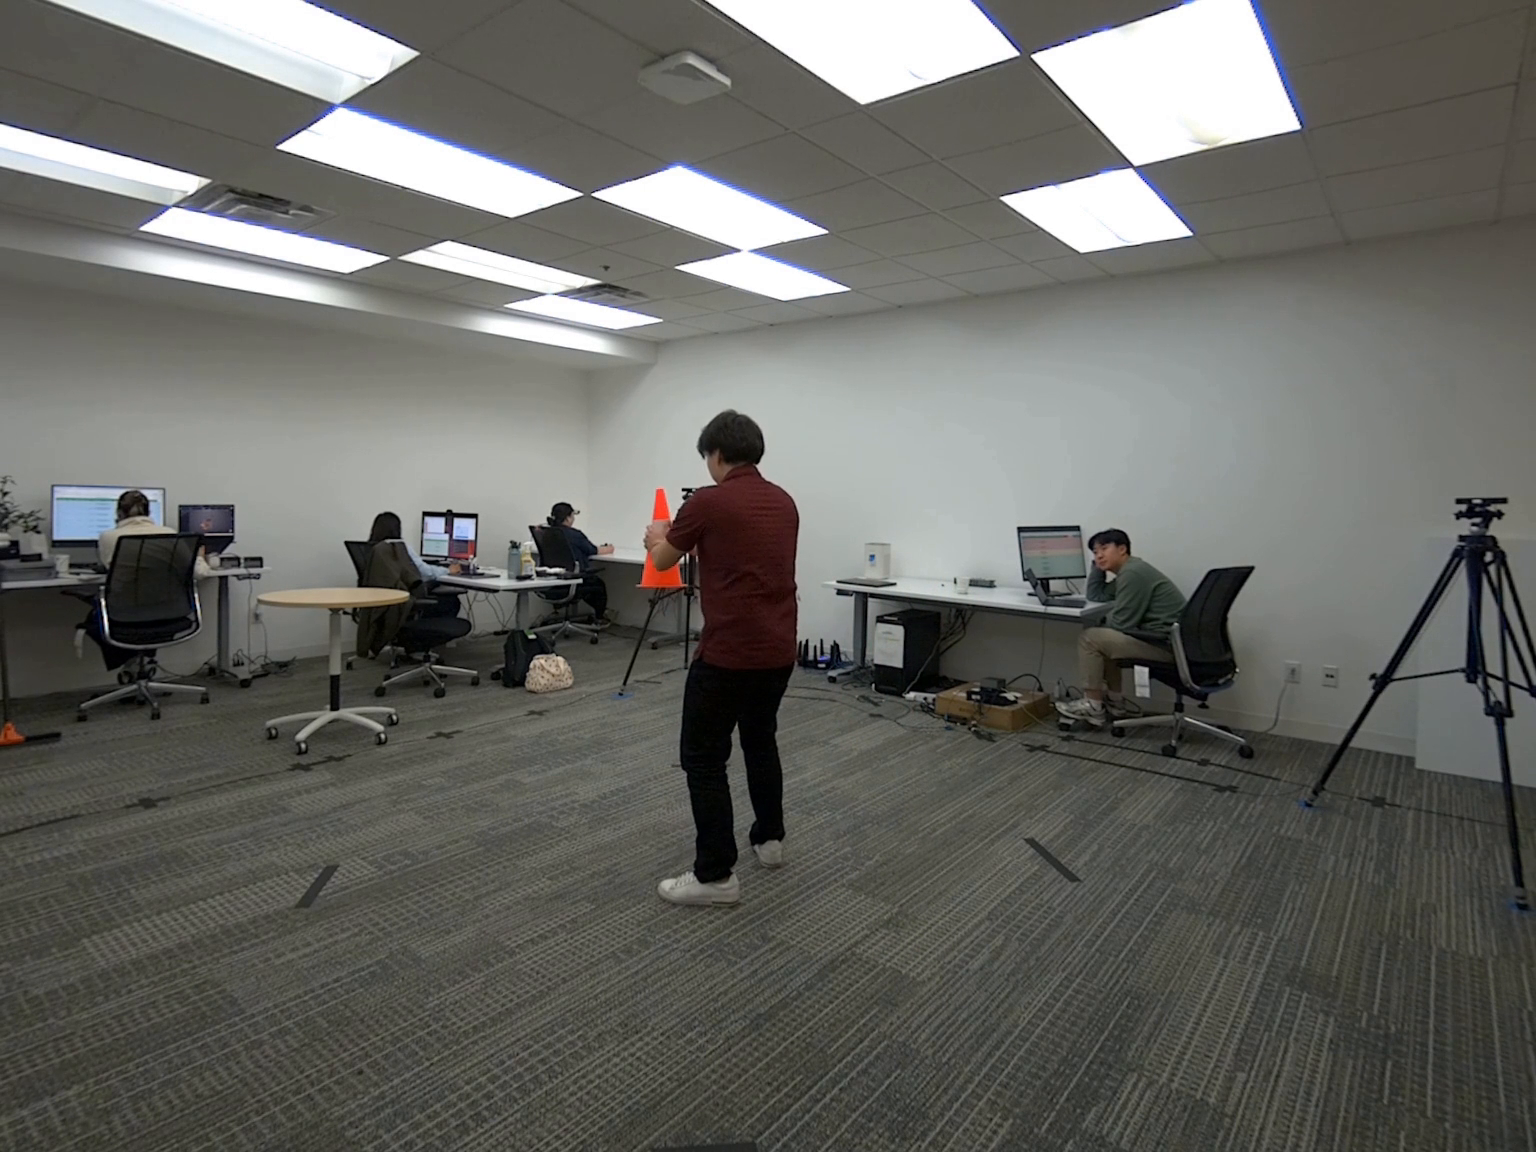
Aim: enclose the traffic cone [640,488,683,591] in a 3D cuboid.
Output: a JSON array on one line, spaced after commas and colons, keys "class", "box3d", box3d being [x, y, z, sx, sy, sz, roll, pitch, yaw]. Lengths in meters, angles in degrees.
[{"class": "traffic cone", "box3d": [-0.432, -0.147, 3.334, 0.200, 0.384, 0.208, 2, 0, -14]}]
